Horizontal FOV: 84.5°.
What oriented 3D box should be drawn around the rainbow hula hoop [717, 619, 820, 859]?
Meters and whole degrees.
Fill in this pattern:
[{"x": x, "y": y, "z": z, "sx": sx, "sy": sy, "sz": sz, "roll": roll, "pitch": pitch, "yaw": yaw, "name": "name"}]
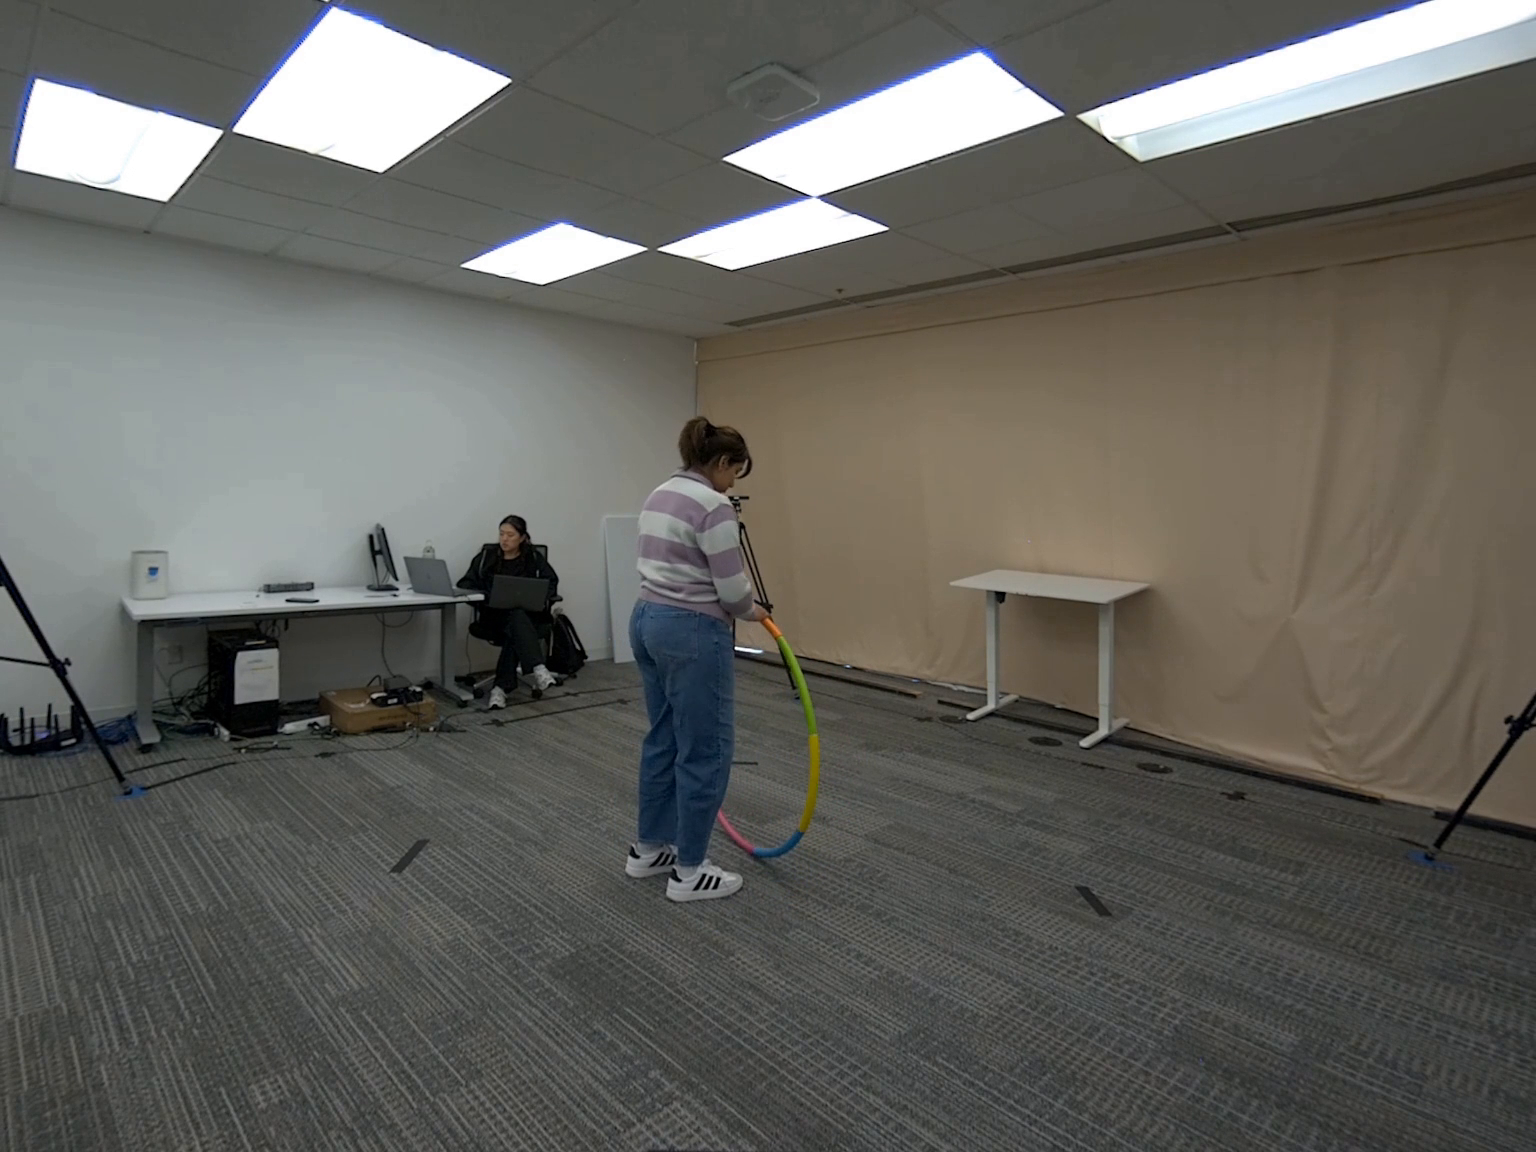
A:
[{"x": -0.099, "y": 0.601, "z": 3.317, "sx": 0.050, "sy": 0.982, "sz": 1.008, "roll": -3, "pitch": 6, "yaw": -30, "name": "rainbow hula hoop"}]
